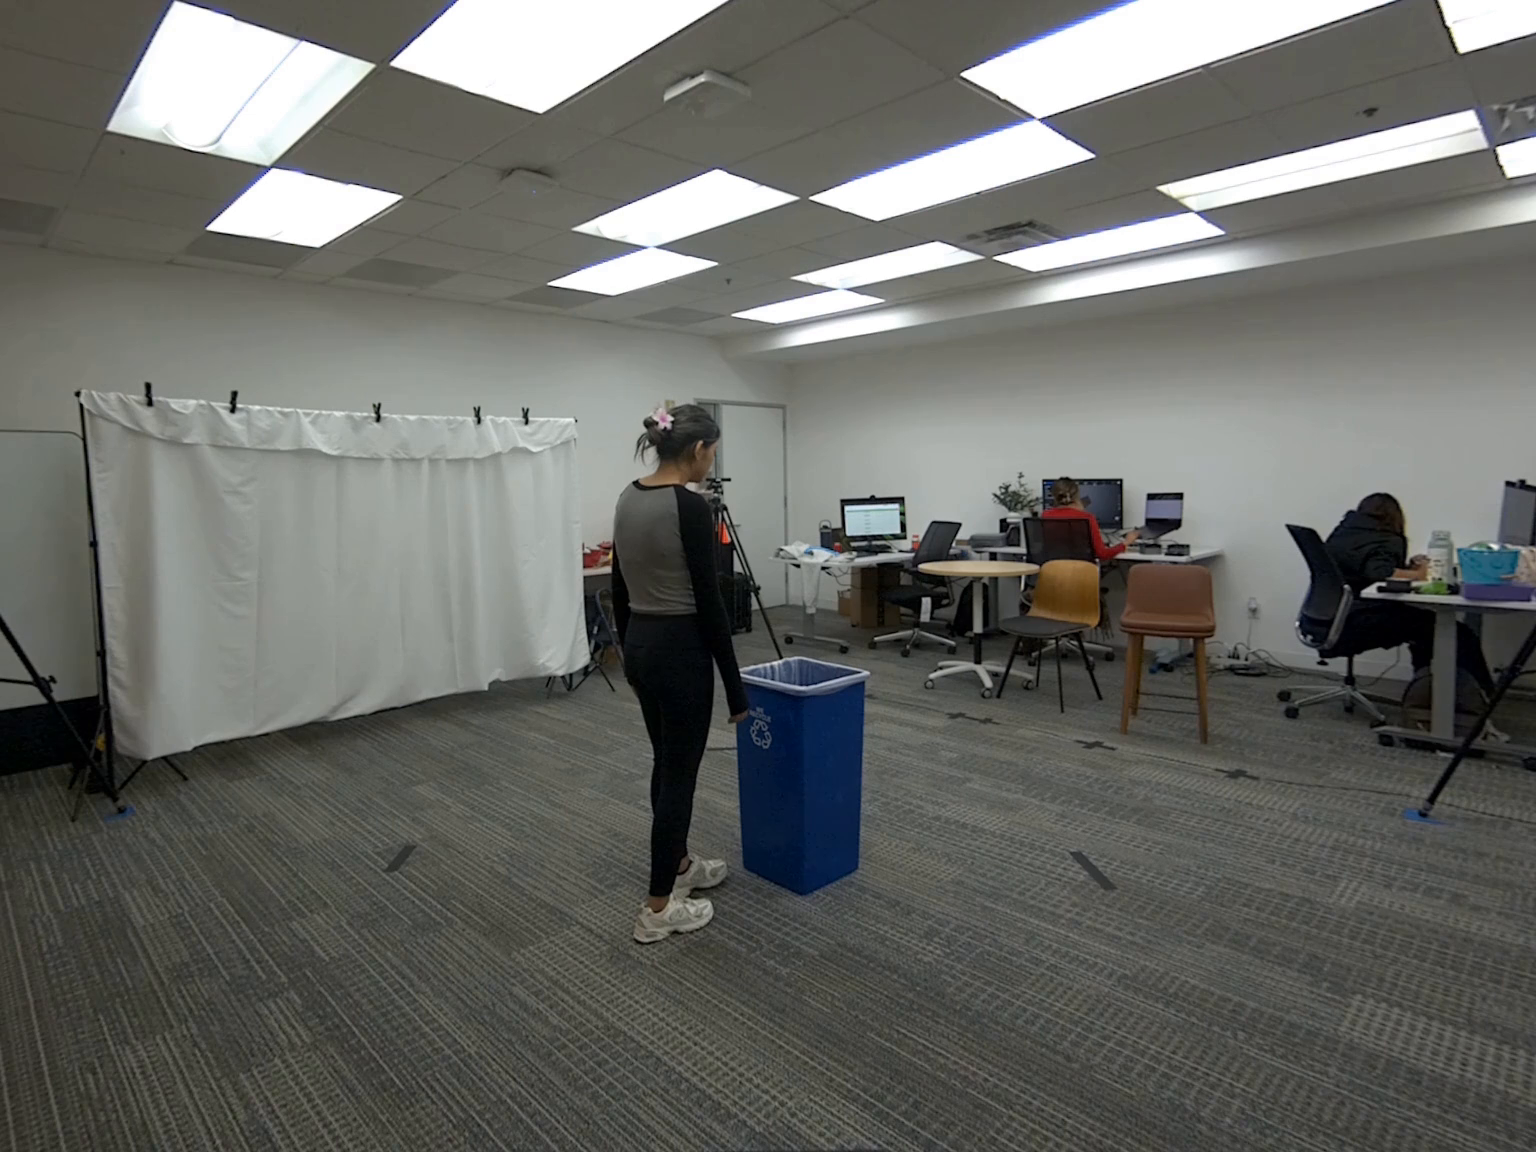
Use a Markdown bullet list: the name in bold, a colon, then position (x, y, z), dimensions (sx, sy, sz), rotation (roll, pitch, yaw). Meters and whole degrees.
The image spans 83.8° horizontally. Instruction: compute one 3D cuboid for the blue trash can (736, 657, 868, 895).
- **blue trash can**: position (0.124, 0.690, 3.031), dimensions (0.368, 0.711, 0.385), rotation (-5, 6, -43)
